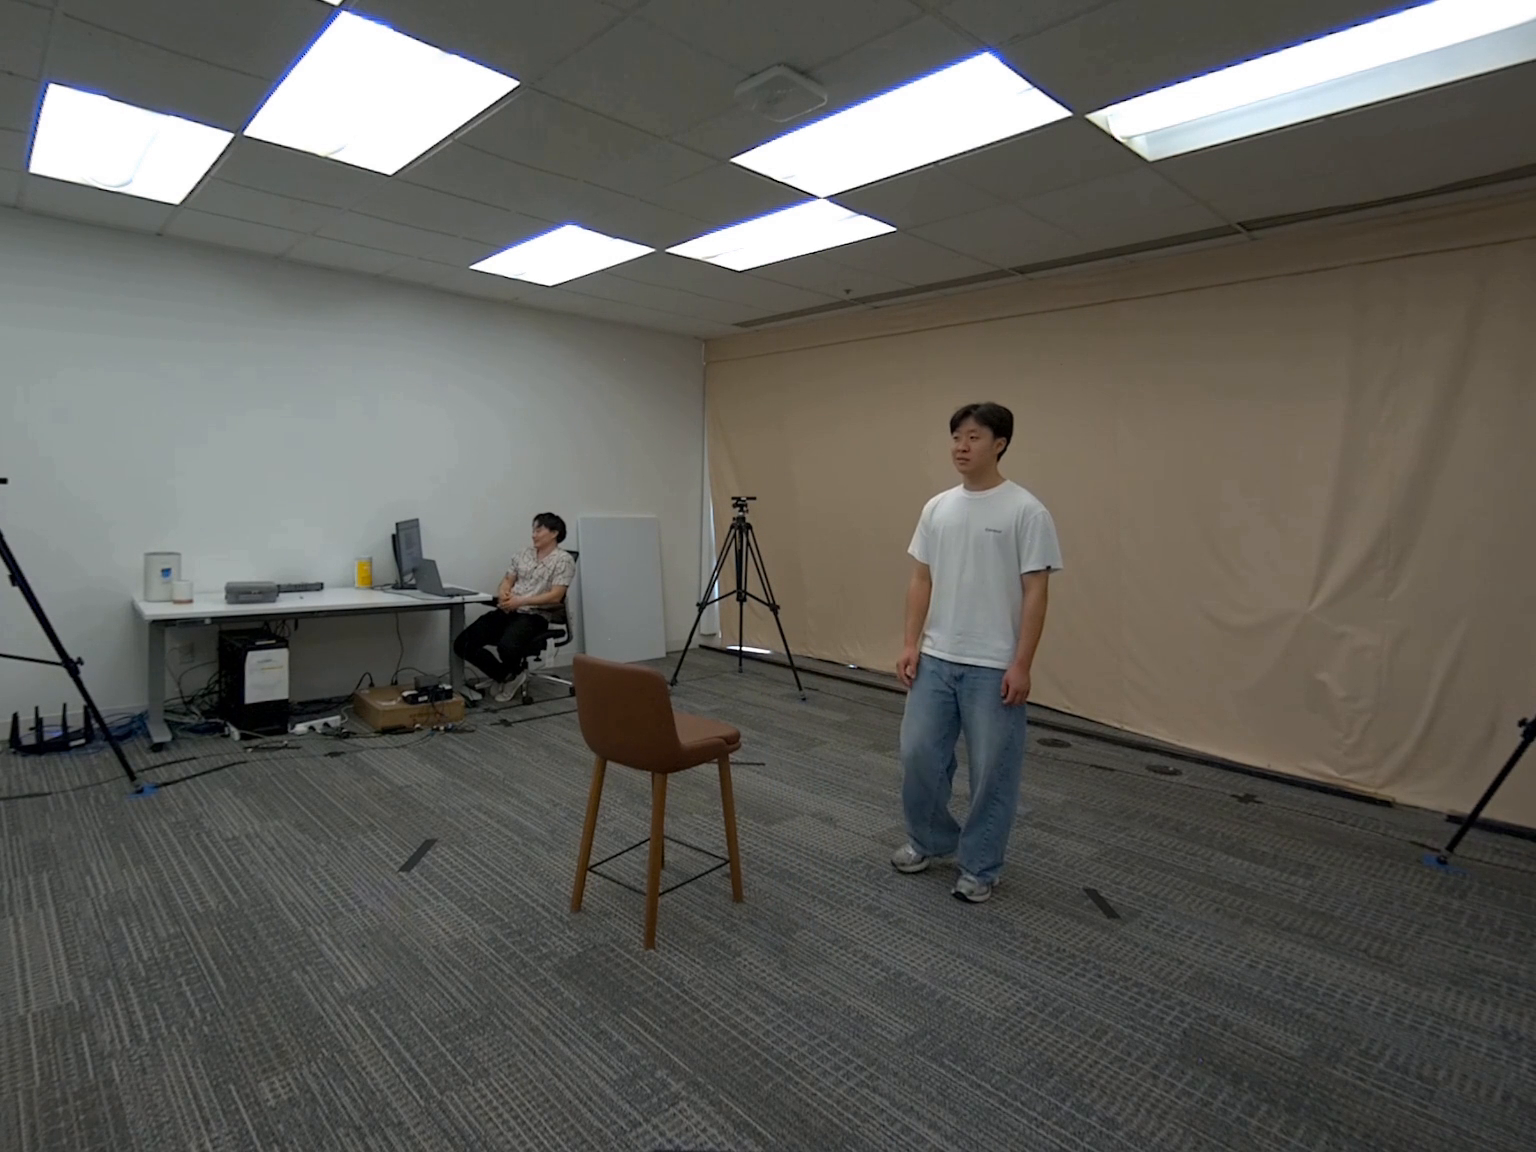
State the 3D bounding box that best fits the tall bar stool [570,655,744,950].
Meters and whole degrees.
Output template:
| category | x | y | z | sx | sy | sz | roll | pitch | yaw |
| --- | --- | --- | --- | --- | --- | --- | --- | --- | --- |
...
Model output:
| category | x | y | z | sx | sy | sz | roll | pitch | yaw |
| --- | --- | --- | --- | --- | --- | --- | --- | --- | --- |
| tall bar stool | -0.376 | 0.688 | 2.842 | 0.468 | 0.886 | 0.458 | 4 | 6 | 39 |
